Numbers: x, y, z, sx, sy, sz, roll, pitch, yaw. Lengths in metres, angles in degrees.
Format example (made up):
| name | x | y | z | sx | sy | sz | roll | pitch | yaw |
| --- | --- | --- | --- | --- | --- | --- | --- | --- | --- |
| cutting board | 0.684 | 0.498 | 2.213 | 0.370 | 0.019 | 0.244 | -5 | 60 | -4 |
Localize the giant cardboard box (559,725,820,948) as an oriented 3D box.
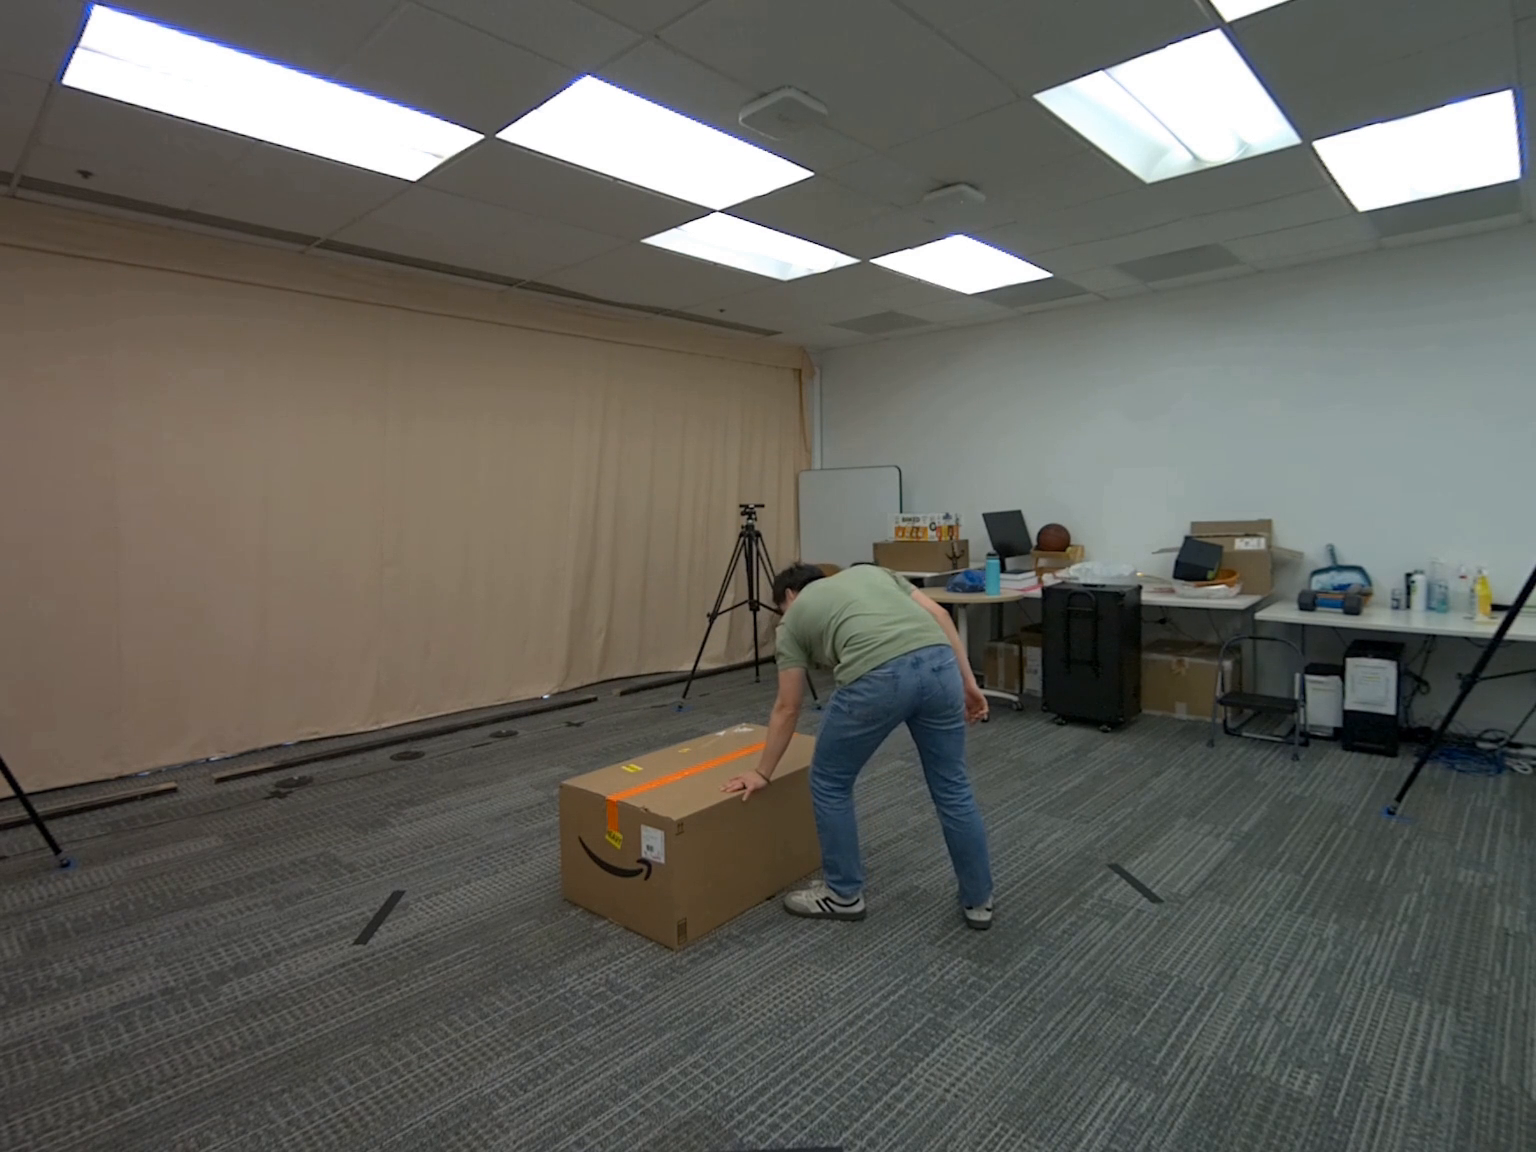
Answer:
| name | x | y | z | sx | sy | sz | roll | pitch | yaw |
| --- | --- | --- | --- | --- | --- | --- | --- | --- | --- |
| giant cardboard box | -0.193 | 0.913 | 3.184 | 0.596 | 0.425 | 0.995 | 2 | 6 | 40 |
